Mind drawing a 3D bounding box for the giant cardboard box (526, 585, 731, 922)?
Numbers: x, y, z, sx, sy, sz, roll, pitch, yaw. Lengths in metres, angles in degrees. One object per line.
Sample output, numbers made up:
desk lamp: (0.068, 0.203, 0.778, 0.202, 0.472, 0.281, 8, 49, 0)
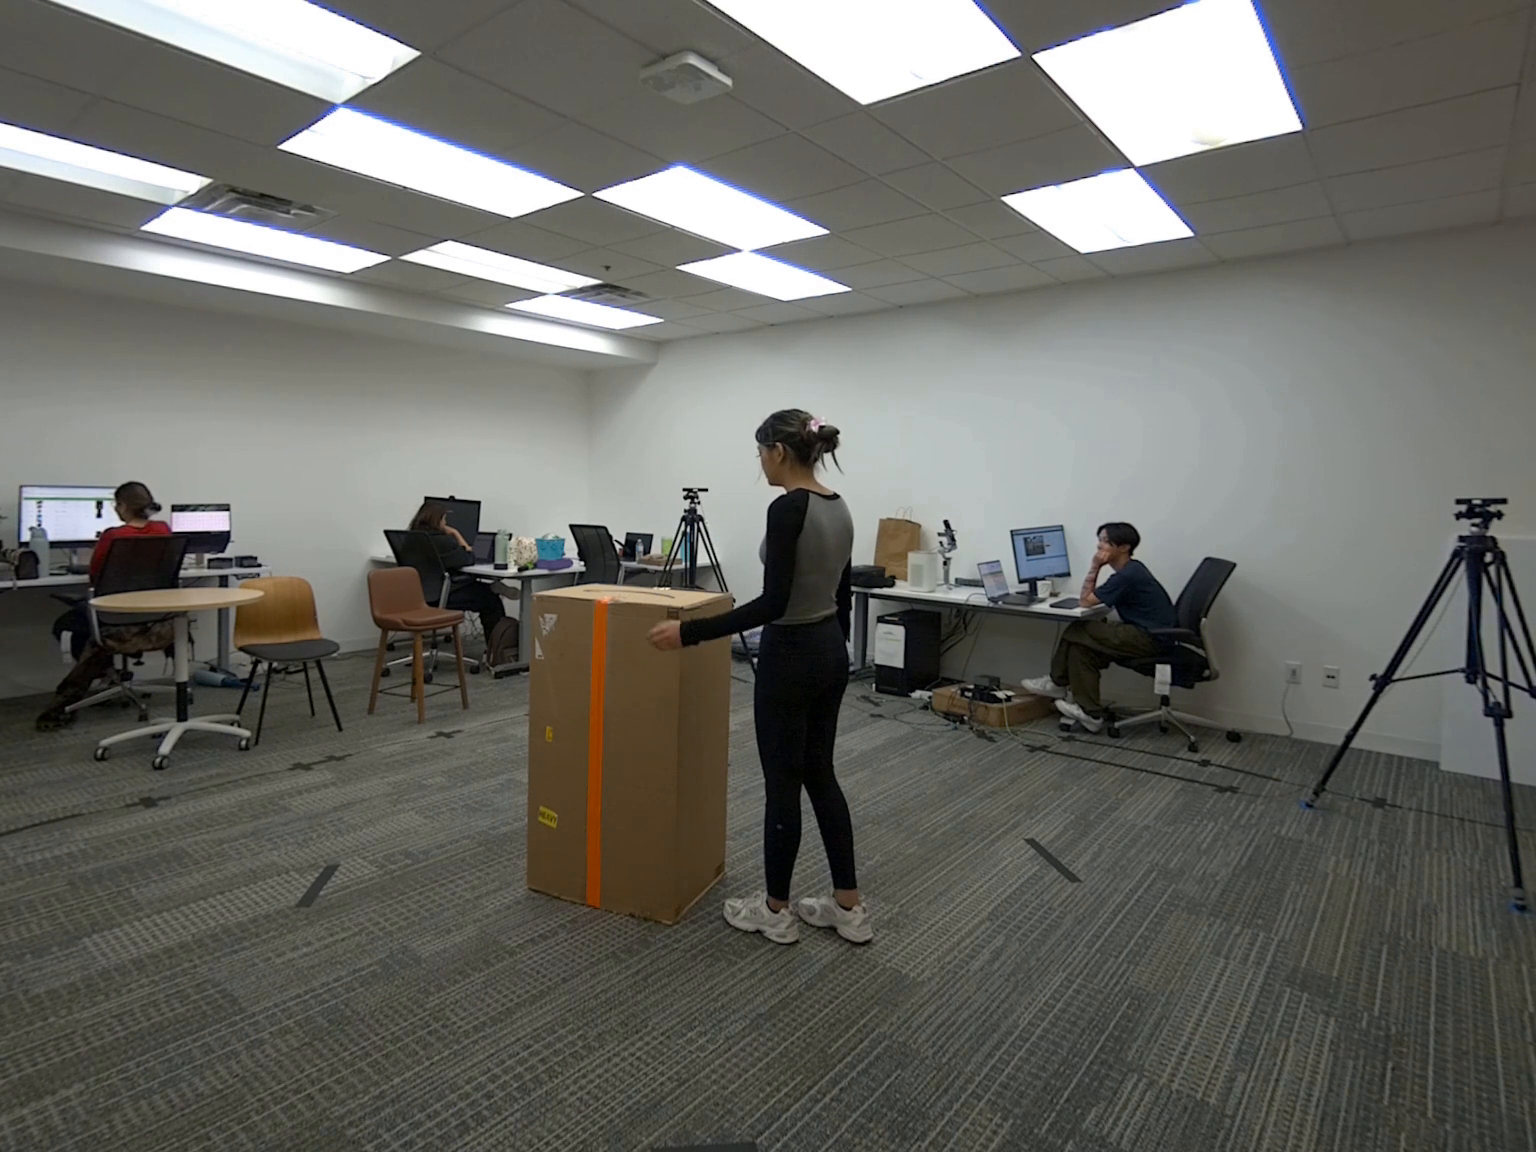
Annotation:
giant cardboard box: (-0.491, 0.571, 2.977, 0.598, 1.025, 0.437, 3, 2, 22)
